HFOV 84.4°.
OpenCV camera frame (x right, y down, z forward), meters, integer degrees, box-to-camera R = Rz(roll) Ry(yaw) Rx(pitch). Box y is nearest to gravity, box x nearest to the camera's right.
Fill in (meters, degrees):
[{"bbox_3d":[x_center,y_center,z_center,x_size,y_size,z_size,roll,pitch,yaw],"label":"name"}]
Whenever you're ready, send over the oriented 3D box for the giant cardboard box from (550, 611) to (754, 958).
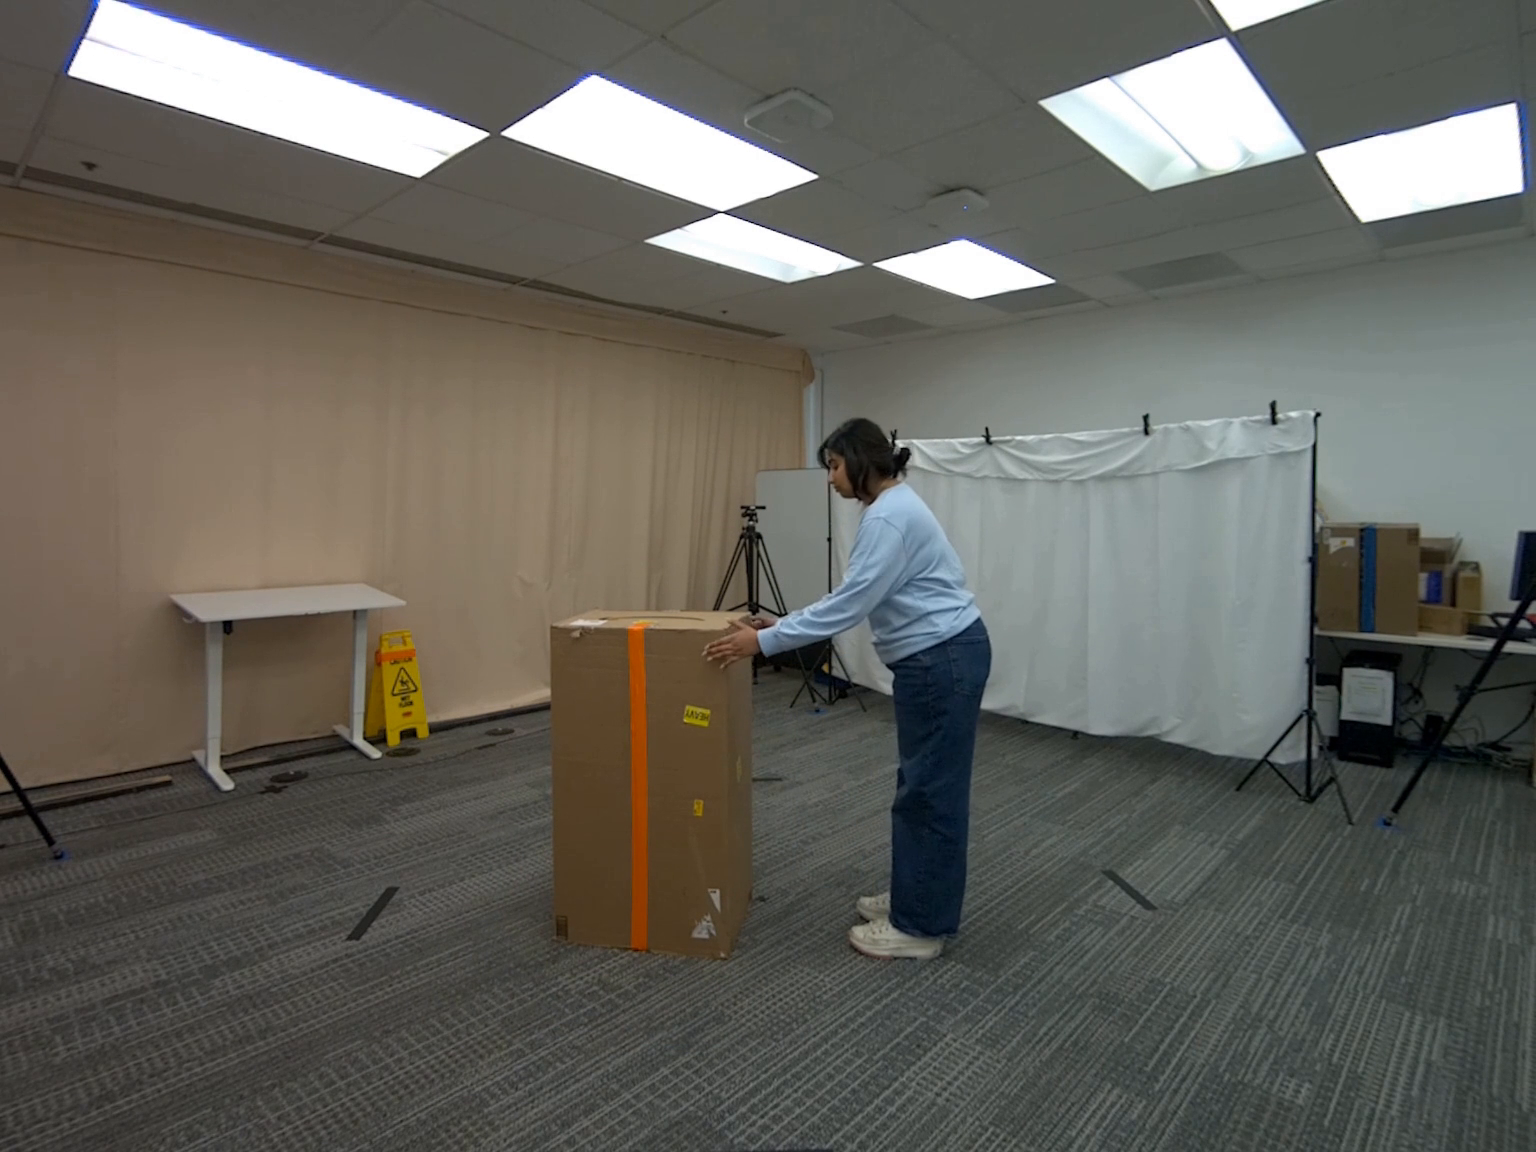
[{"bbox_3d":[-0.370,0.653,2.824,0.585,1.024,0.421,0,3,11],"label":"giant cardboard box"}]
